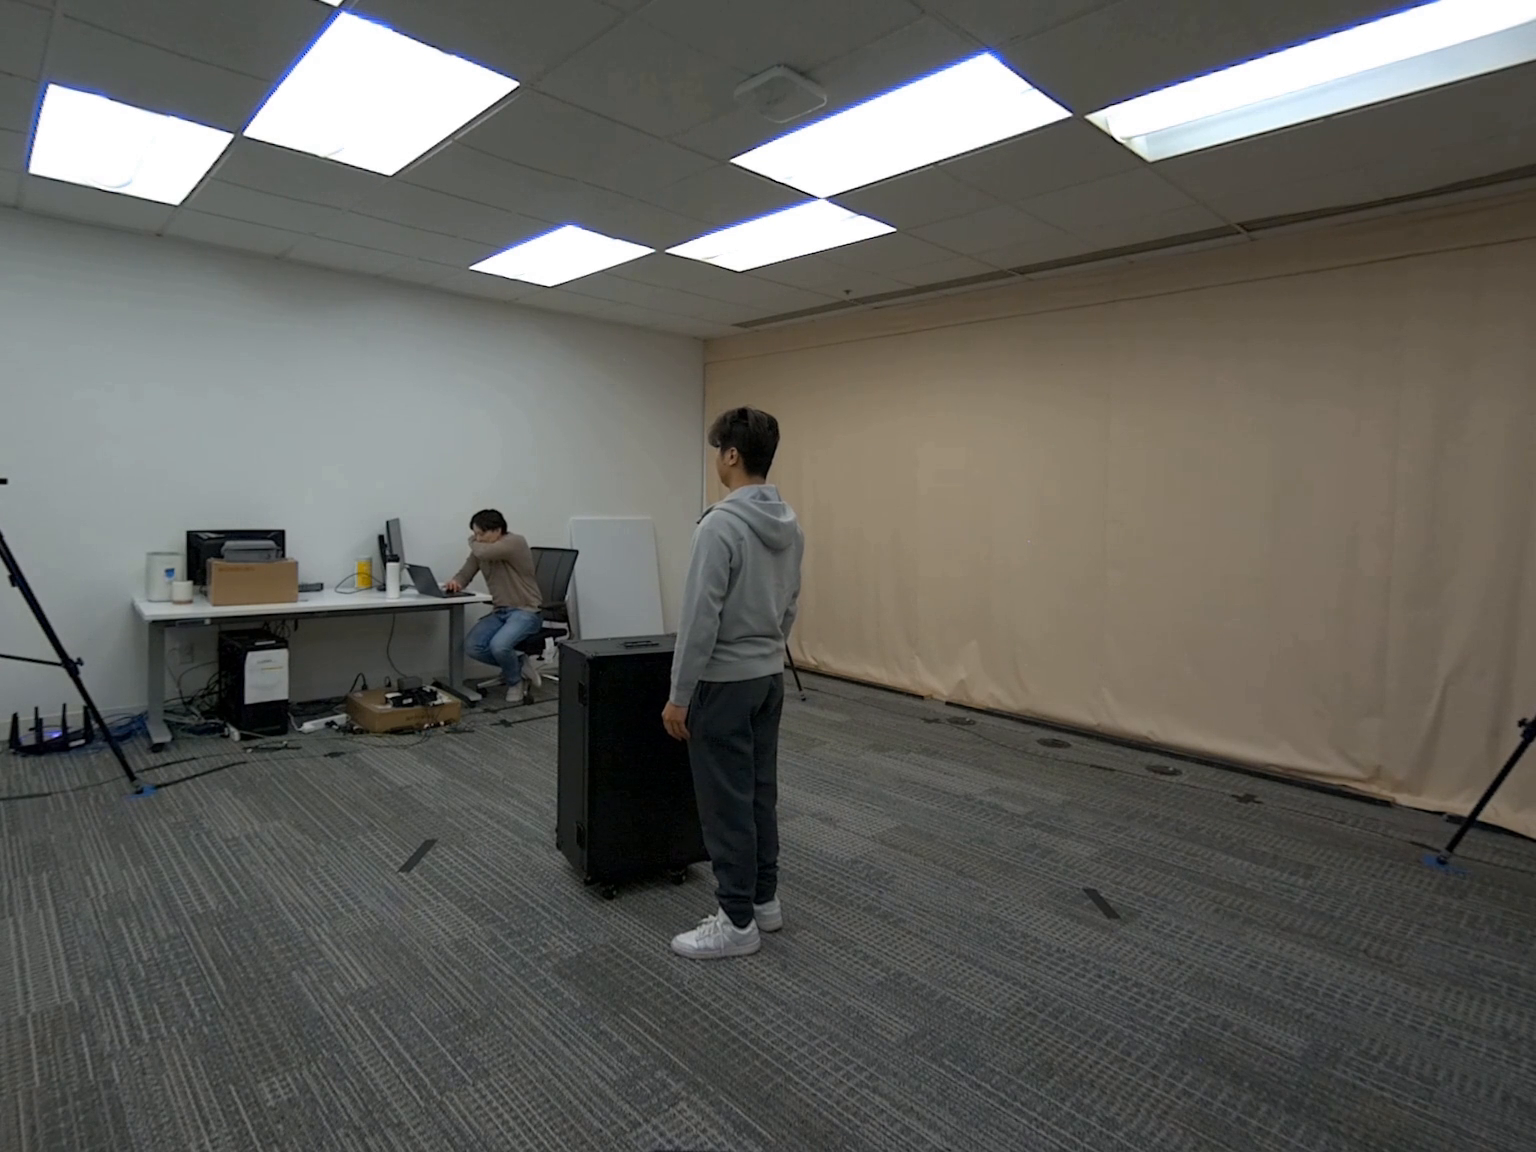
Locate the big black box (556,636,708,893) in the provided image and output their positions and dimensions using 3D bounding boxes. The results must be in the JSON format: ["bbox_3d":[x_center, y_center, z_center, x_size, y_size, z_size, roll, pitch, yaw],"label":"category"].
[{"bbox_3d":[-0.509,0.674,3.109,0.511,0.860,0.404,-1,2,-29],"label":"big black box"}]
